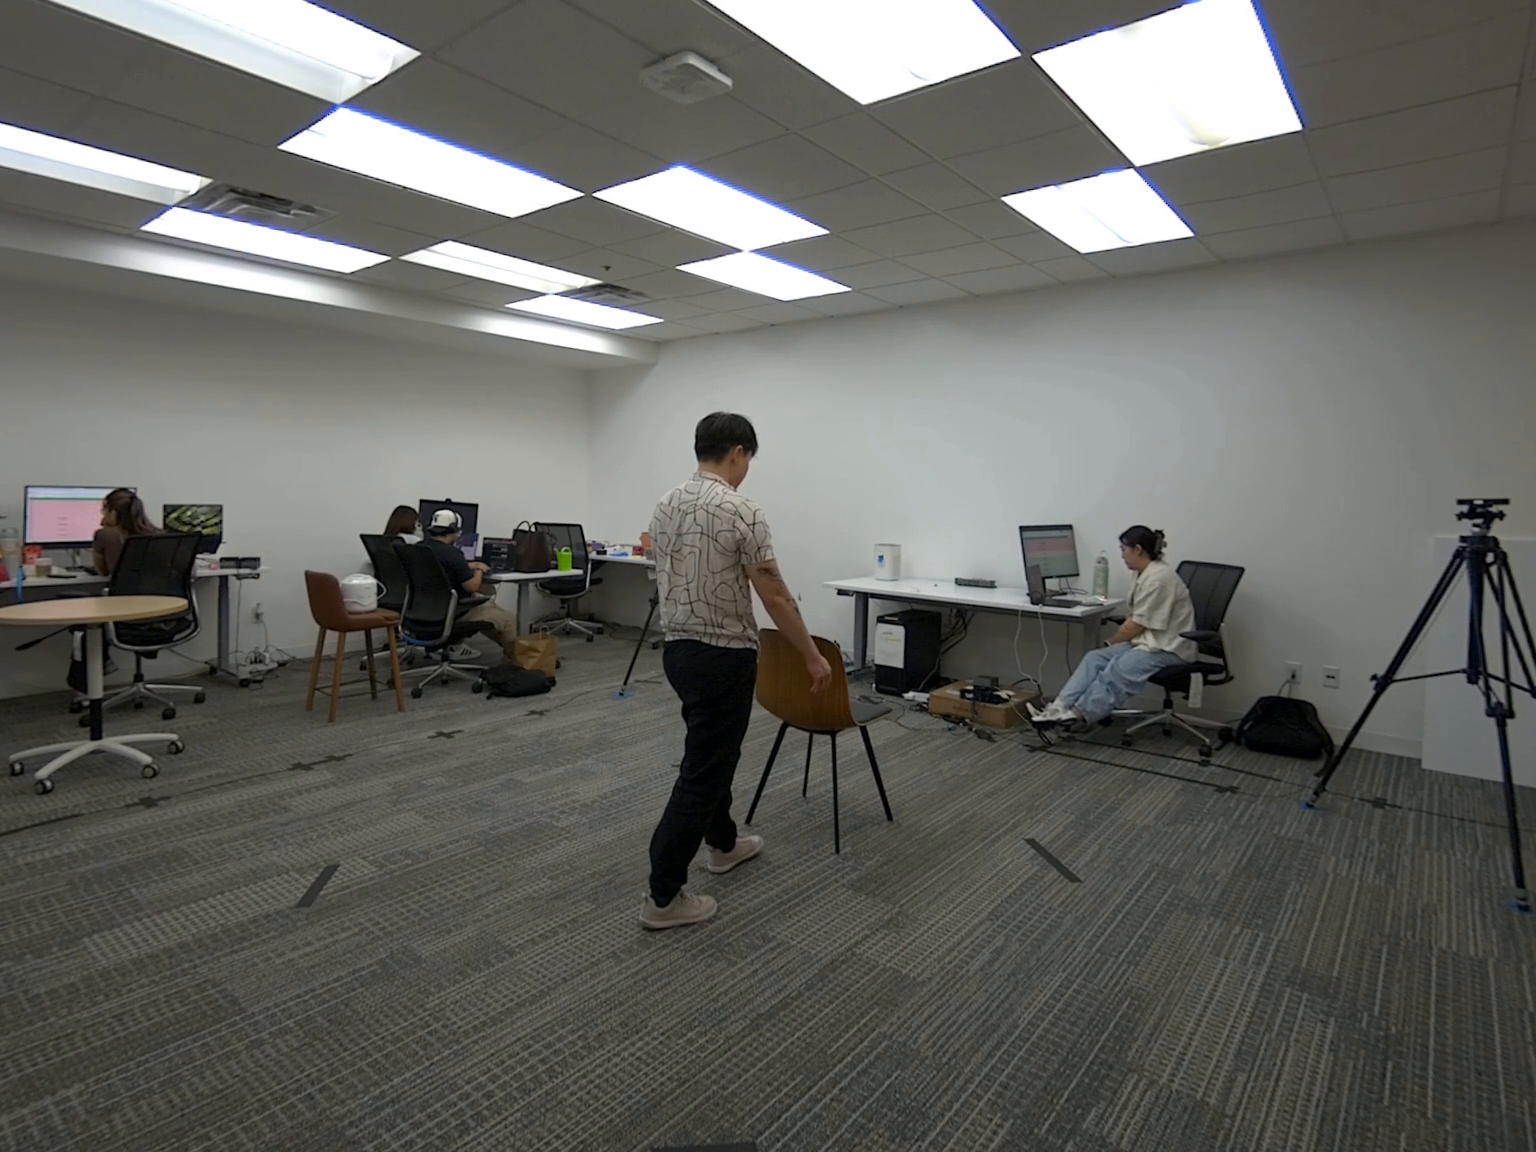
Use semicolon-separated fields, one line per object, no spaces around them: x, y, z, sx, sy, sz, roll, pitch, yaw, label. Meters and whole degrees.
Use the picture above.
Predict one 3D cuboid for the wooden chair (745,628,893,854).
0.222;0.606;3.558;0.494;0.872;0.510;3;8;37;wooden chair
